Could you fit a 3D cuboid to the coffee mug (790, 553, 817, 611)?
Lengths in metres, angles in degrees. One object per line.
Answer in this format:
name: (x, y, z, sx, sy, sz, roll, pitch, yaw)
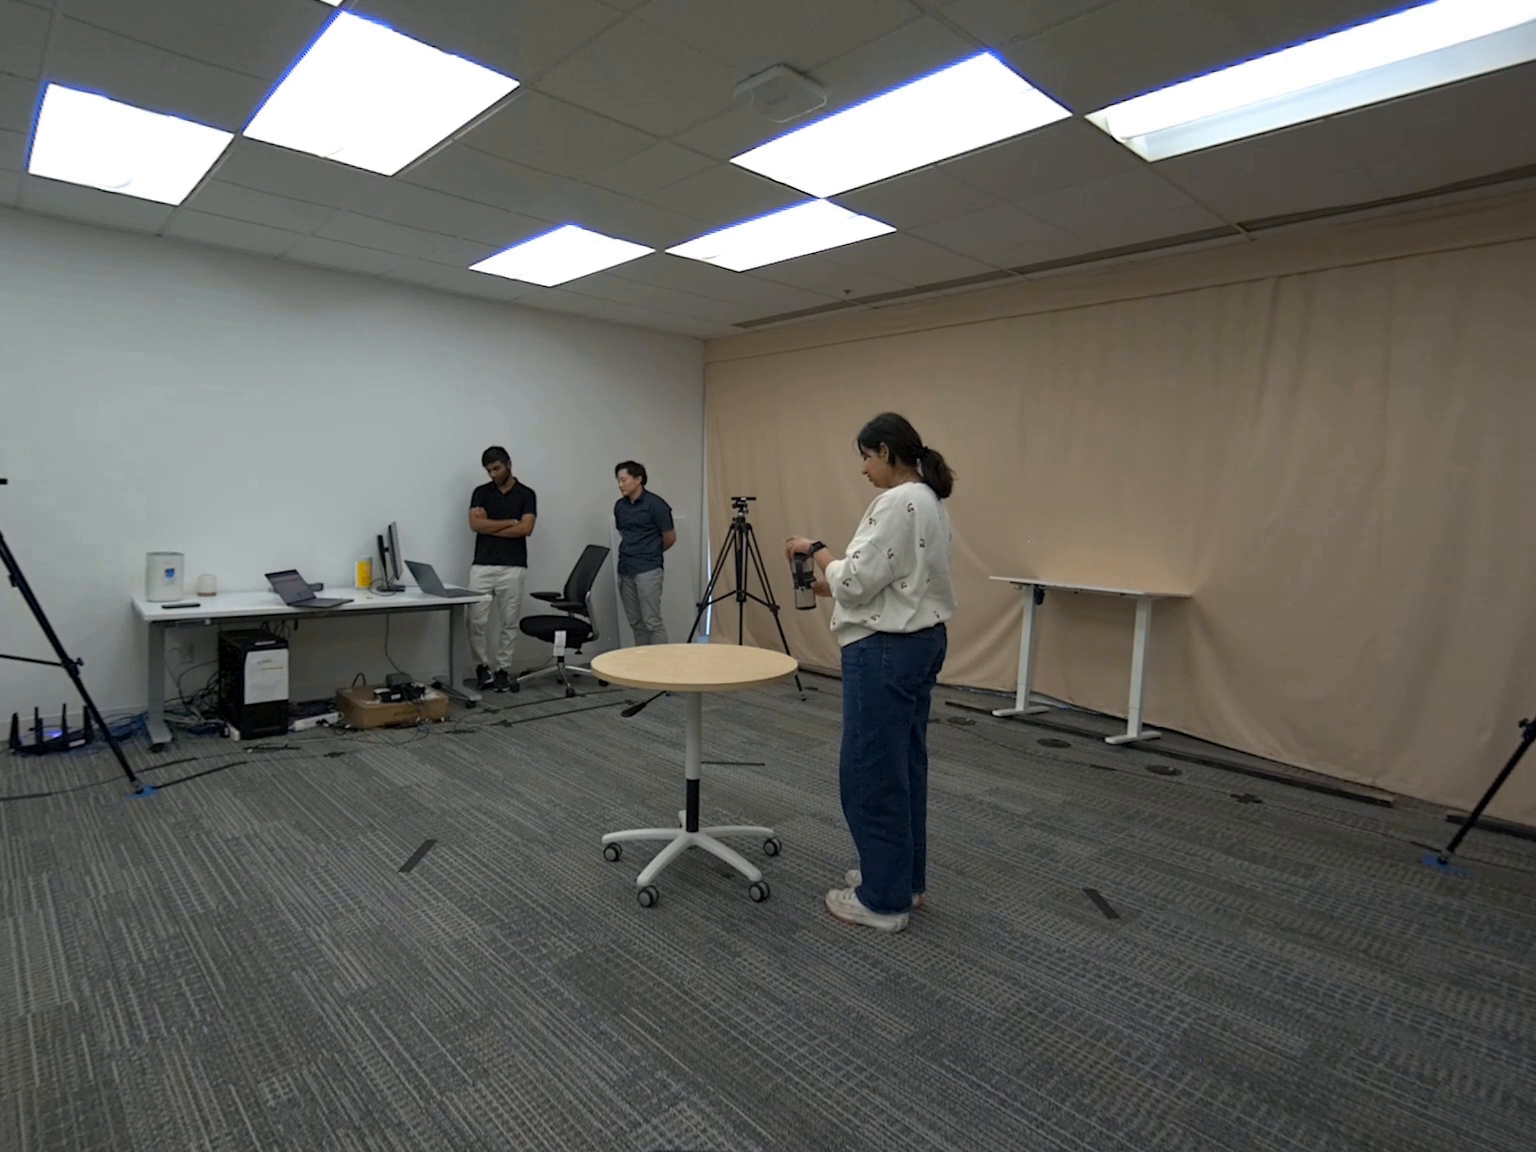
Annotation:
coffee mug: (0.110, 0.019, 2.914, 0.090, 0.201, 0.120, 9, 15, 44)
